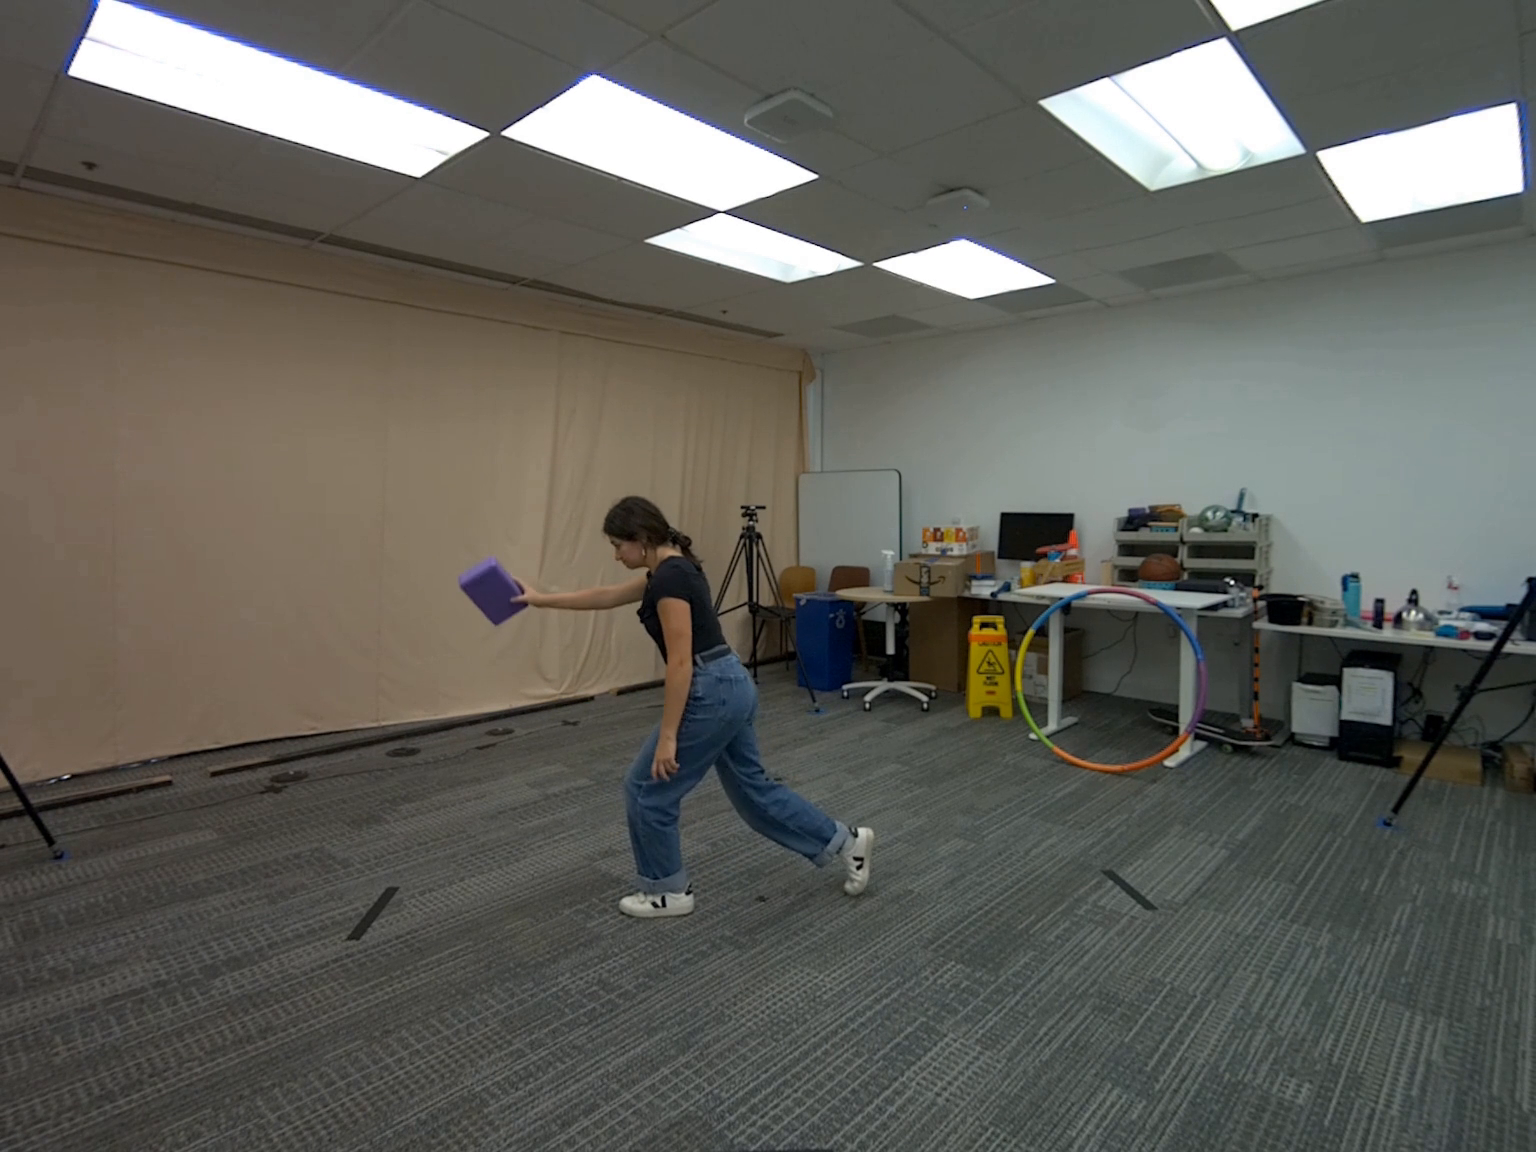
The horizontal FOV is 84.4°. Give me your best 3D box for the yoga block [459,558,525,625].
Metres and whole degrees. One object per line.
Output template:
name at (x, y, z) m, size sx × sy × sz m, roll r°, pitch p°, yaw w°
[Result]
yoga block at (-0.973, 0.035, 3.024) m, size 0.149 × 0.223 × 0.079 m, roll -28°, pitch 34°, yaw -1°
